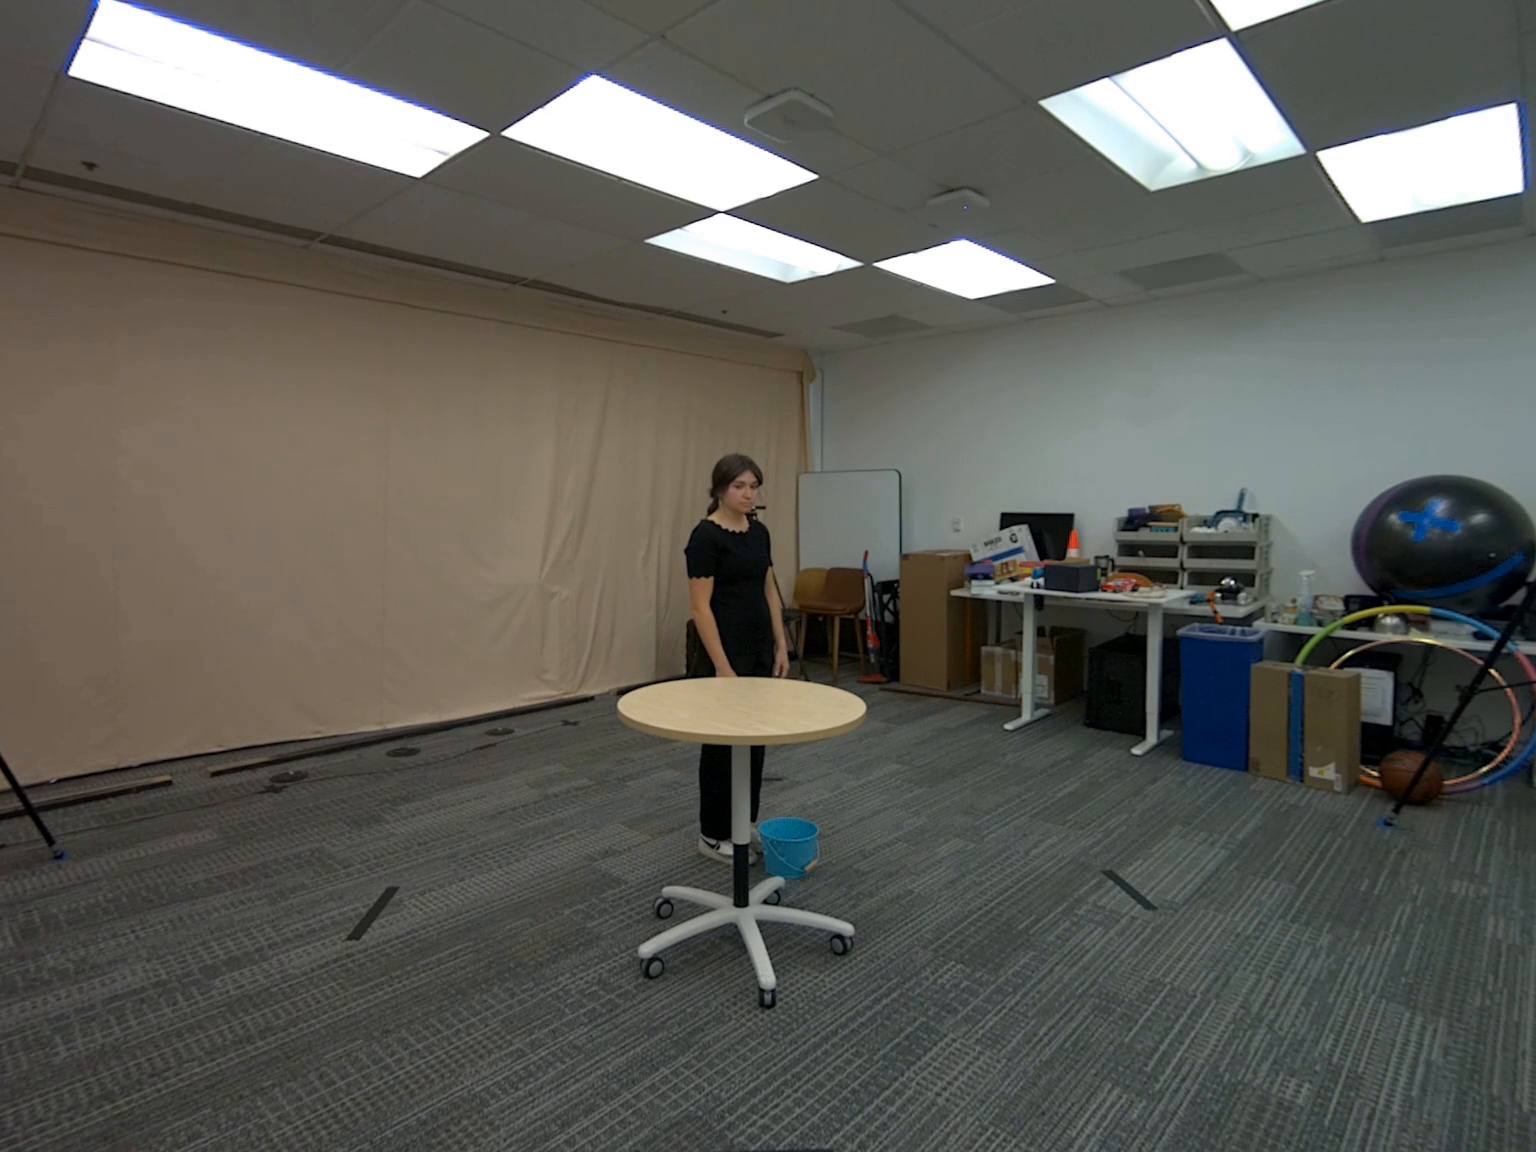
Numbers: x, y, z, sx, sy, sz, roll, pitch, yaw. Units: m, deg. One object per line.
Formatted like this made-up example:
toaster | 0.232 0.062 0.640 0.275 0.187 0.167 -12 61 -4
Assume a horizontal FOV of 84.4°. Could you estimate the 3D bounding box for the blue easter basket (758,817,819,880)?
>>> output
blue easter basket | 0.083 1.041 3.229 0.243 0.155 0.244 -1 4 -2
